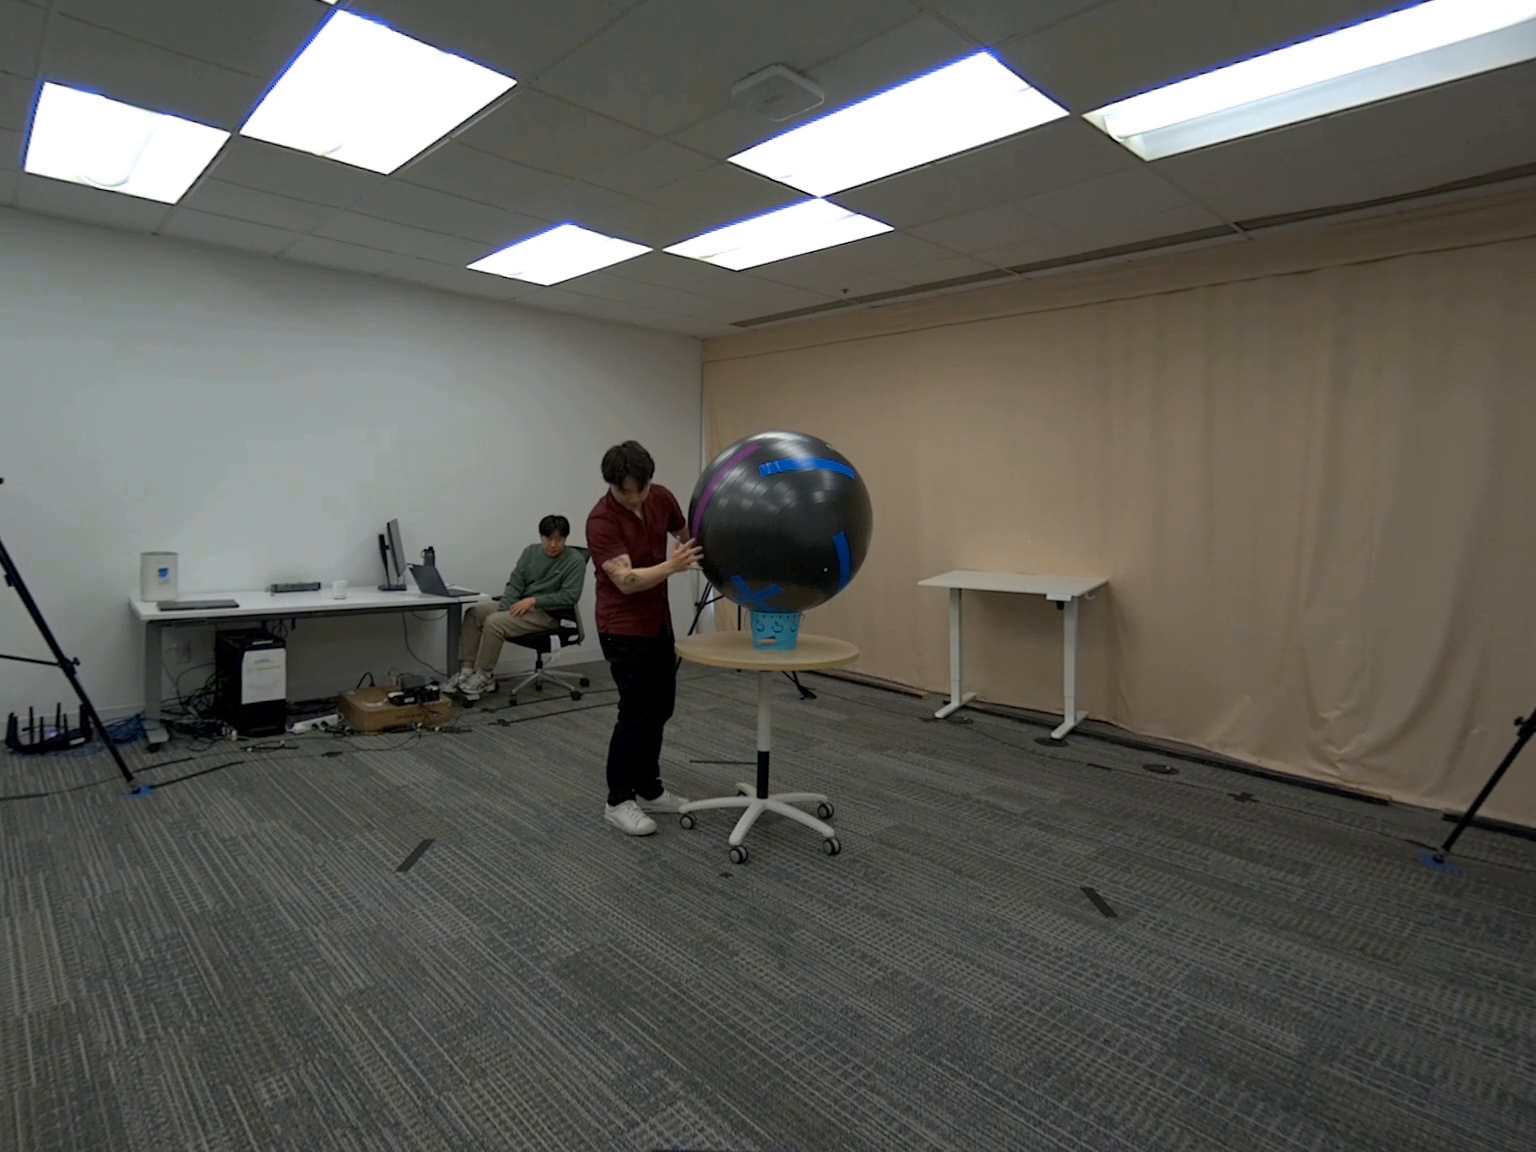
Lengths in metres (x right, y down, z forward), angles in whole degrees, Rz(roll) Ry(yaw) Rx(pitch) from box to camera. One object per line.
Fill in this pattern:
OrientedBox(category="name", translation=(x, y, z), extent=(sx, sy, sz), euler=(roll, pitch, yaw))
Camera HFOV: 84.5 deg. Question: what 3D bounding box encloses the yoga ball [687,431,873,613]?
OrientedBox(category="yoga ball", translation=(0.041, -0.216, 3.481), extent=(0.757, 0.756, 0.761), euler=(1, 4, -1))
